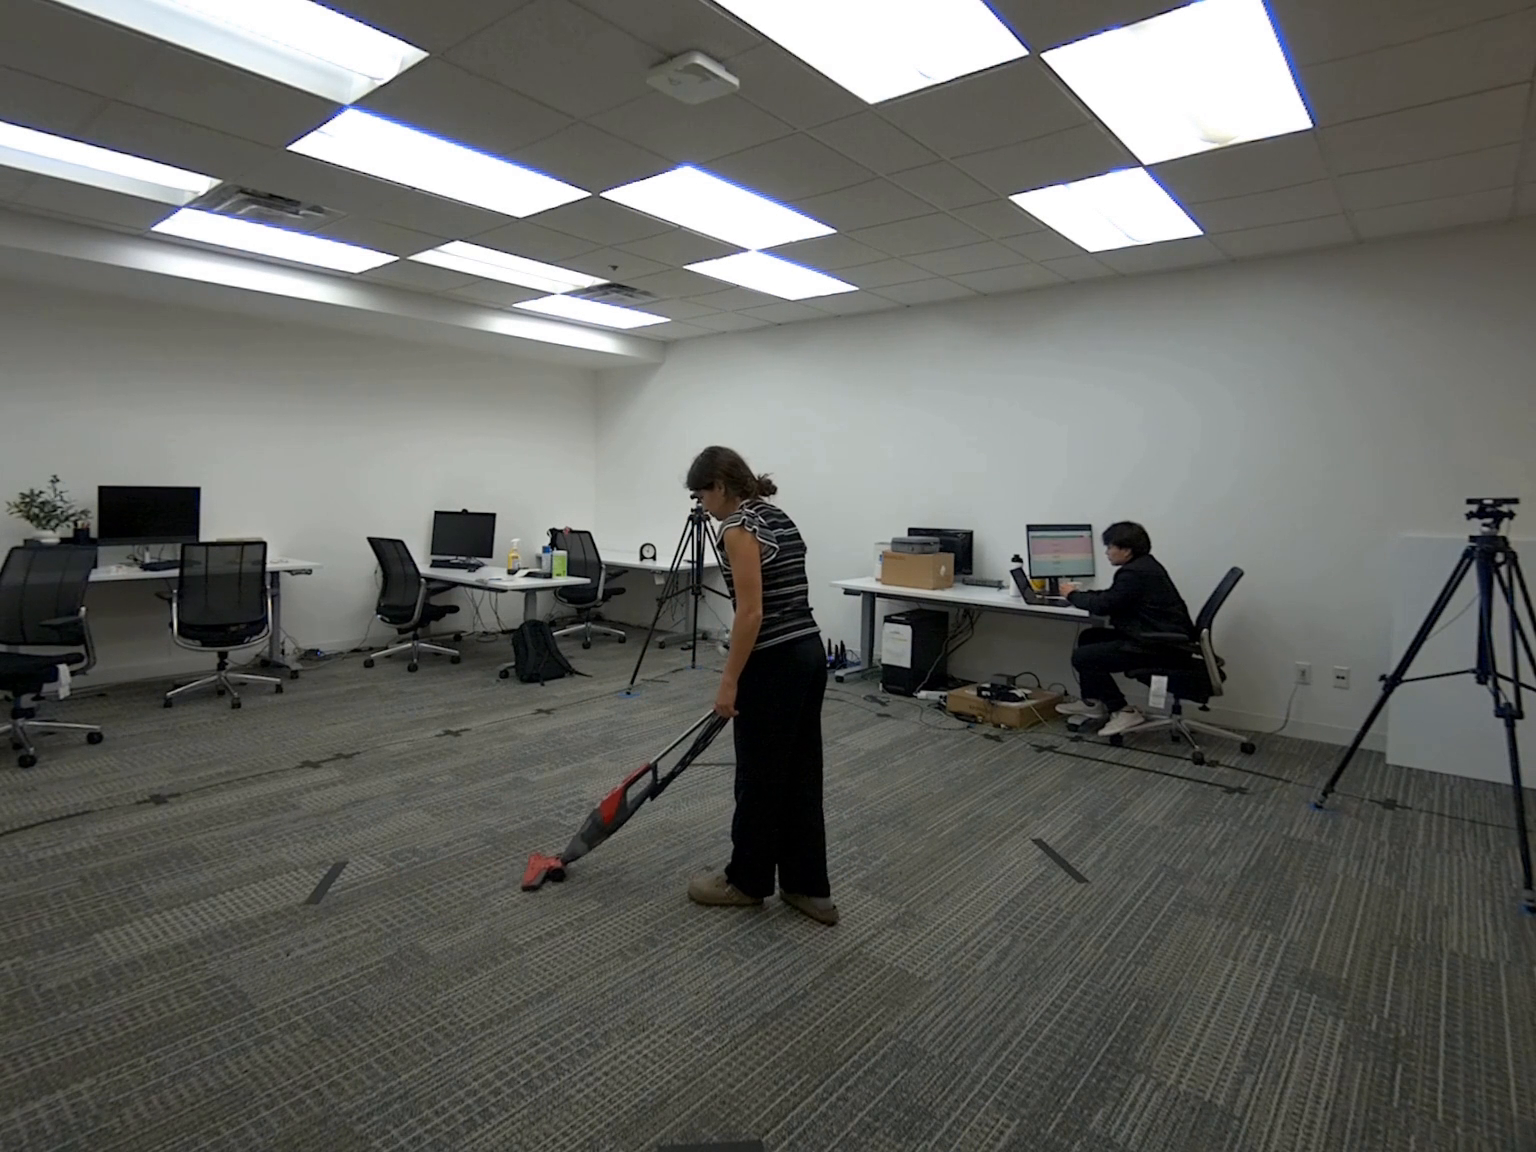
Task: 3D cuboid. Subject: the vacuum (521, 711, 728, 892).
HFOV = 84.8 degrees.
[{"bbox_3d":[-0.412,0.711,3.055,1.049,0.142,0.255,-42,9,-3],"label":"vacuum"}]
